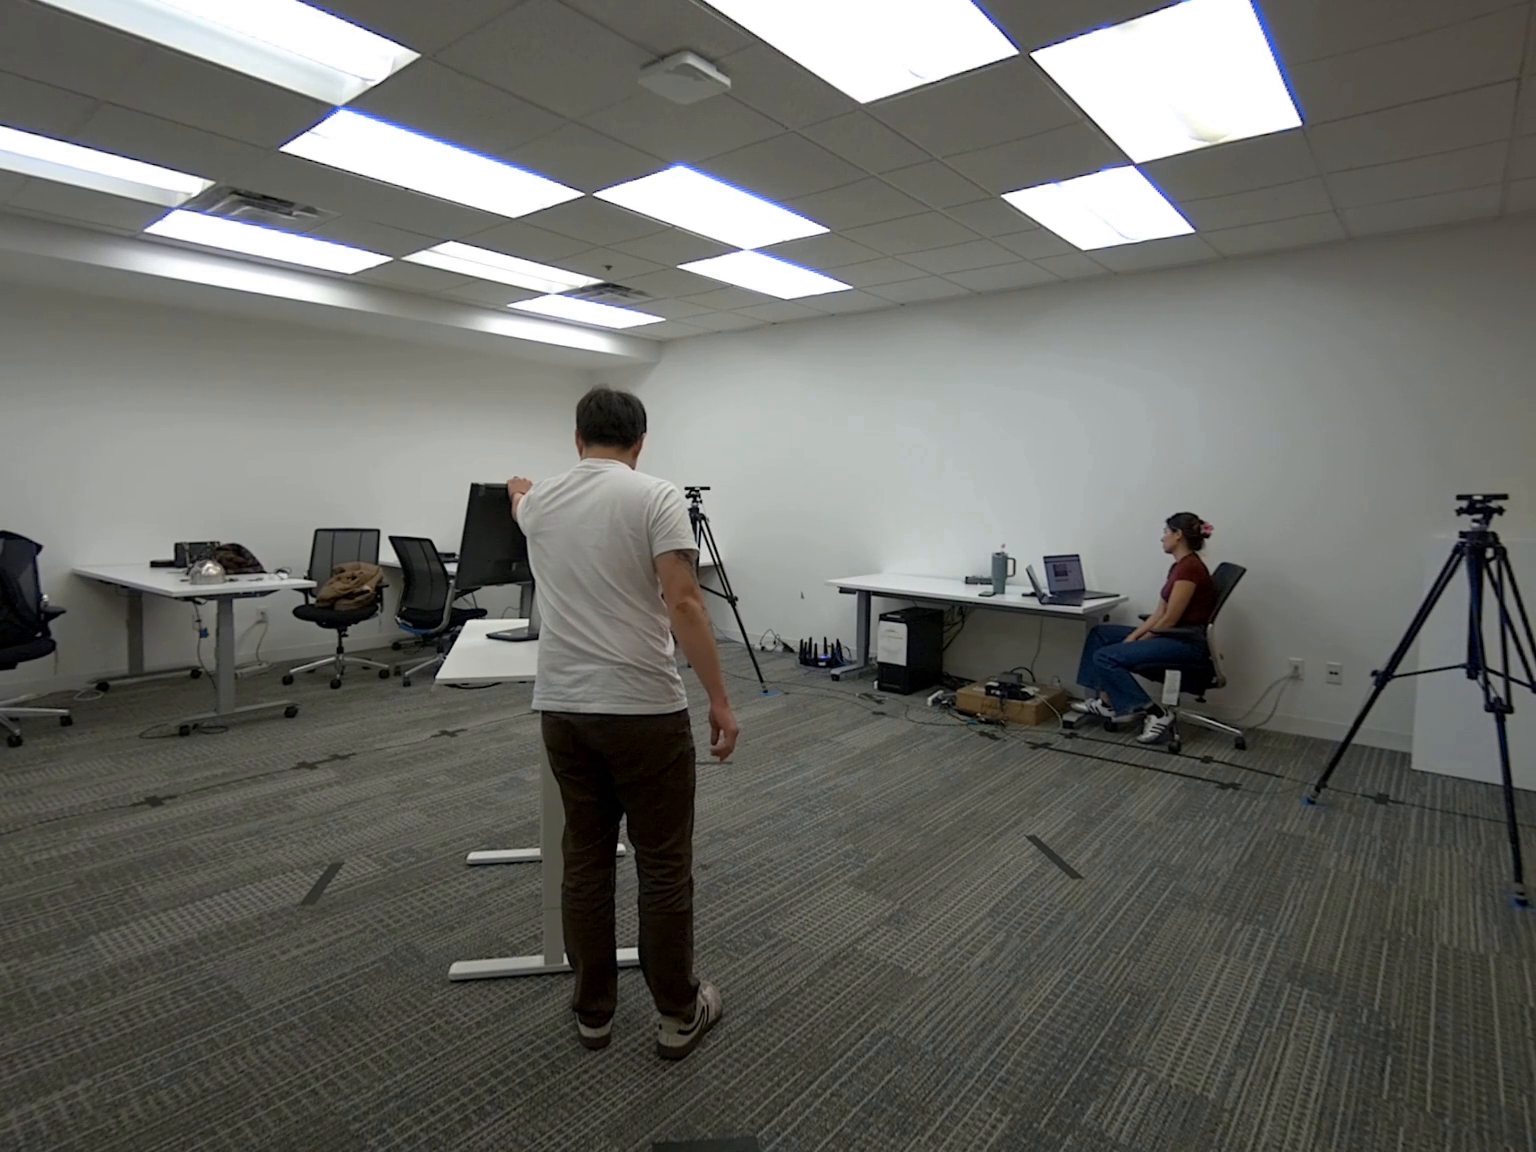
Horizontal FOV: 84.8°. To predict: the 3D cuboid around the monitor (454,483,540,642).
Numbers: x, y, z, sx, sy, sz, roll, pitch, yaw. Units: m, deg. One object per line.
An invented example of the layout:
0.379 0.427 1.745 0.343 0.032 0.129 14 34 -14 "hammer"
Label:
-0.807 -0.051 2.875 0.193 0.521 0.524 5 6 34 "monitor"
